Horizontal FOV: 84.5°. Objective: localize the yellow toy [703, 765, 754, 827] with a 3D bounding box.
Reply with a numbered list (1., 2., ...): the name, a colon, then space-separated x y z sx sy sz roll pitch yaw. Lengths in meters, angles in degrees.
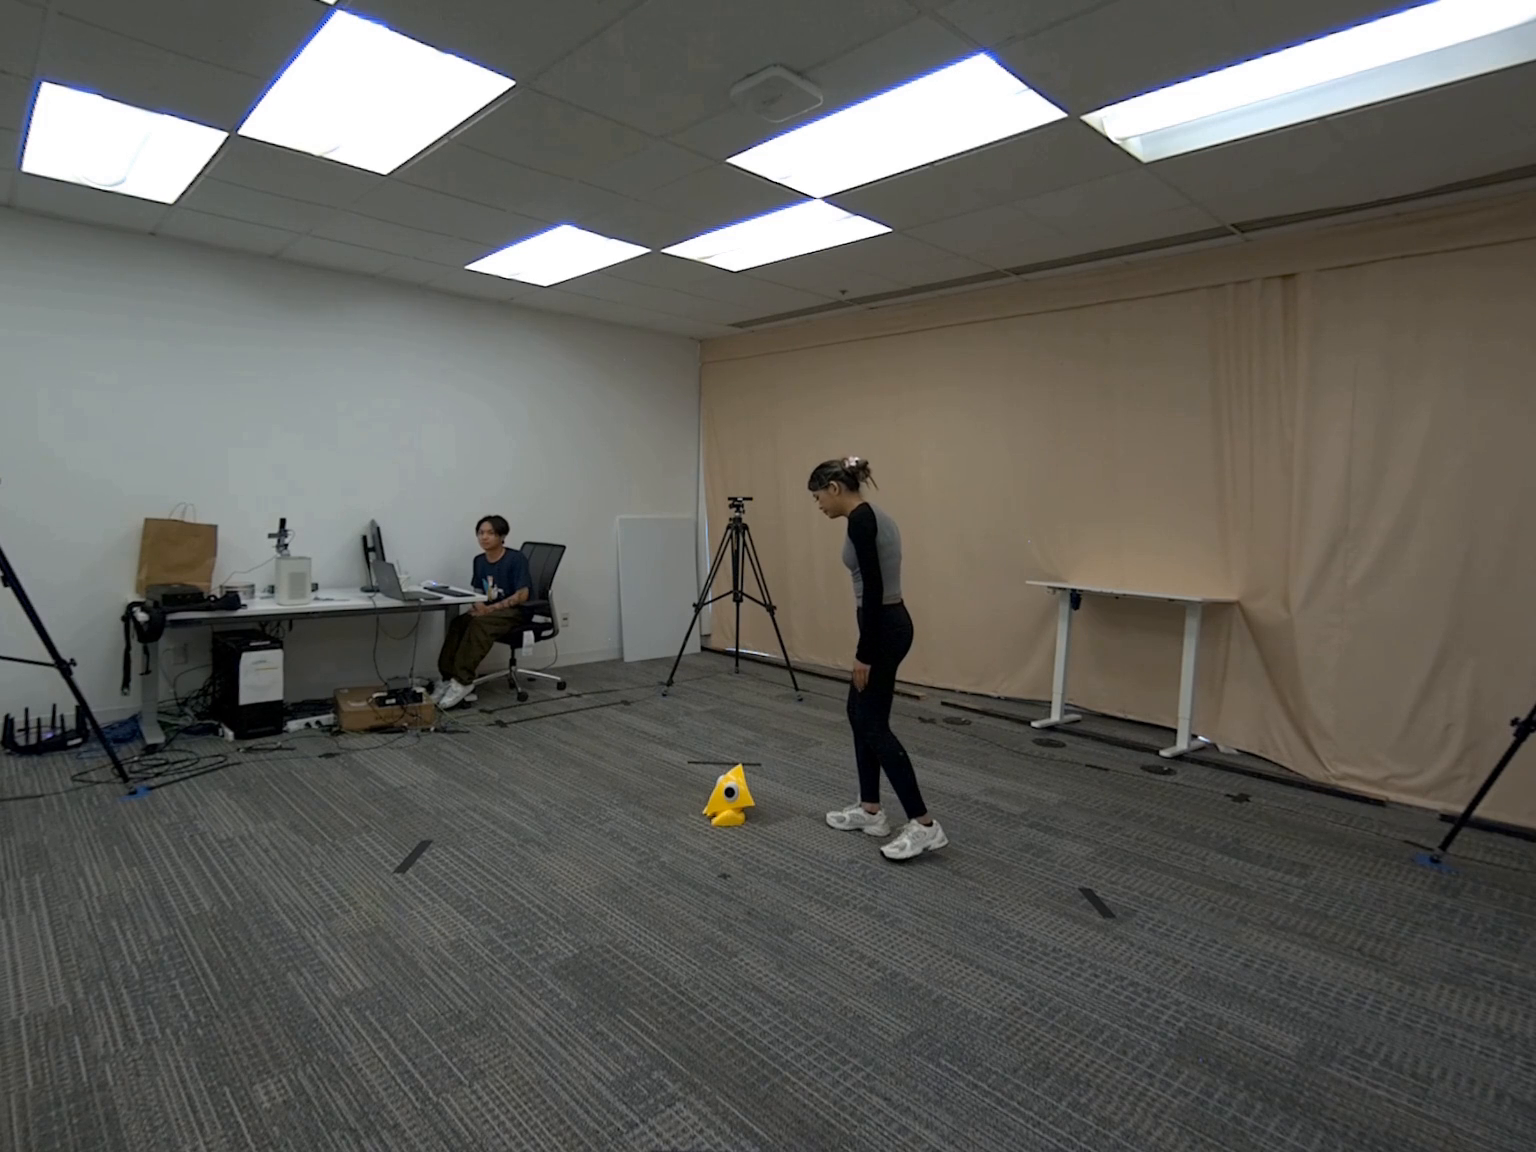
1. yellow toy: -0.184 0.941 3.686 0.190 0.230 0.208 1 4 -20
